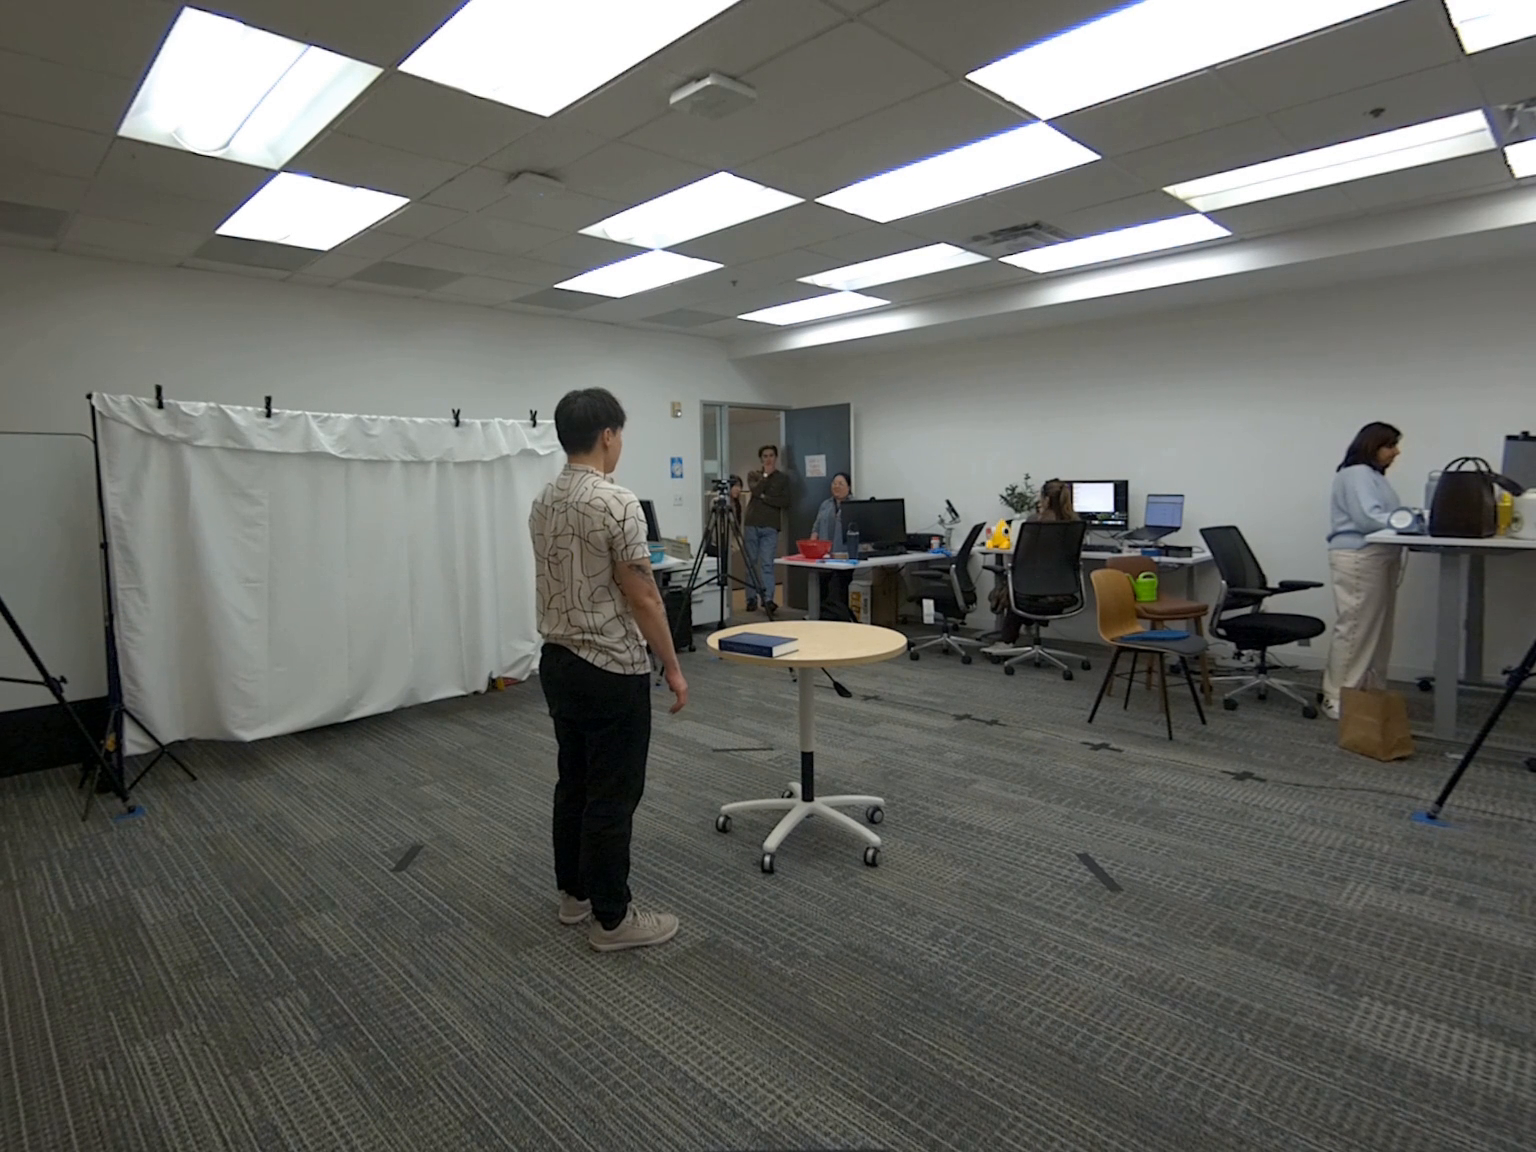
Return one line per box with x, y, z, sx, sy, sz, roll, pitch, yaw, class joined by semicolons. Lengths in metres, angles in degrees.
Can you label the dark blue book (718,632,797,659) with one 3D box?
-0.032;0.249;3.091;0.252;0.045;0.159;4;9;37;dark blue book
